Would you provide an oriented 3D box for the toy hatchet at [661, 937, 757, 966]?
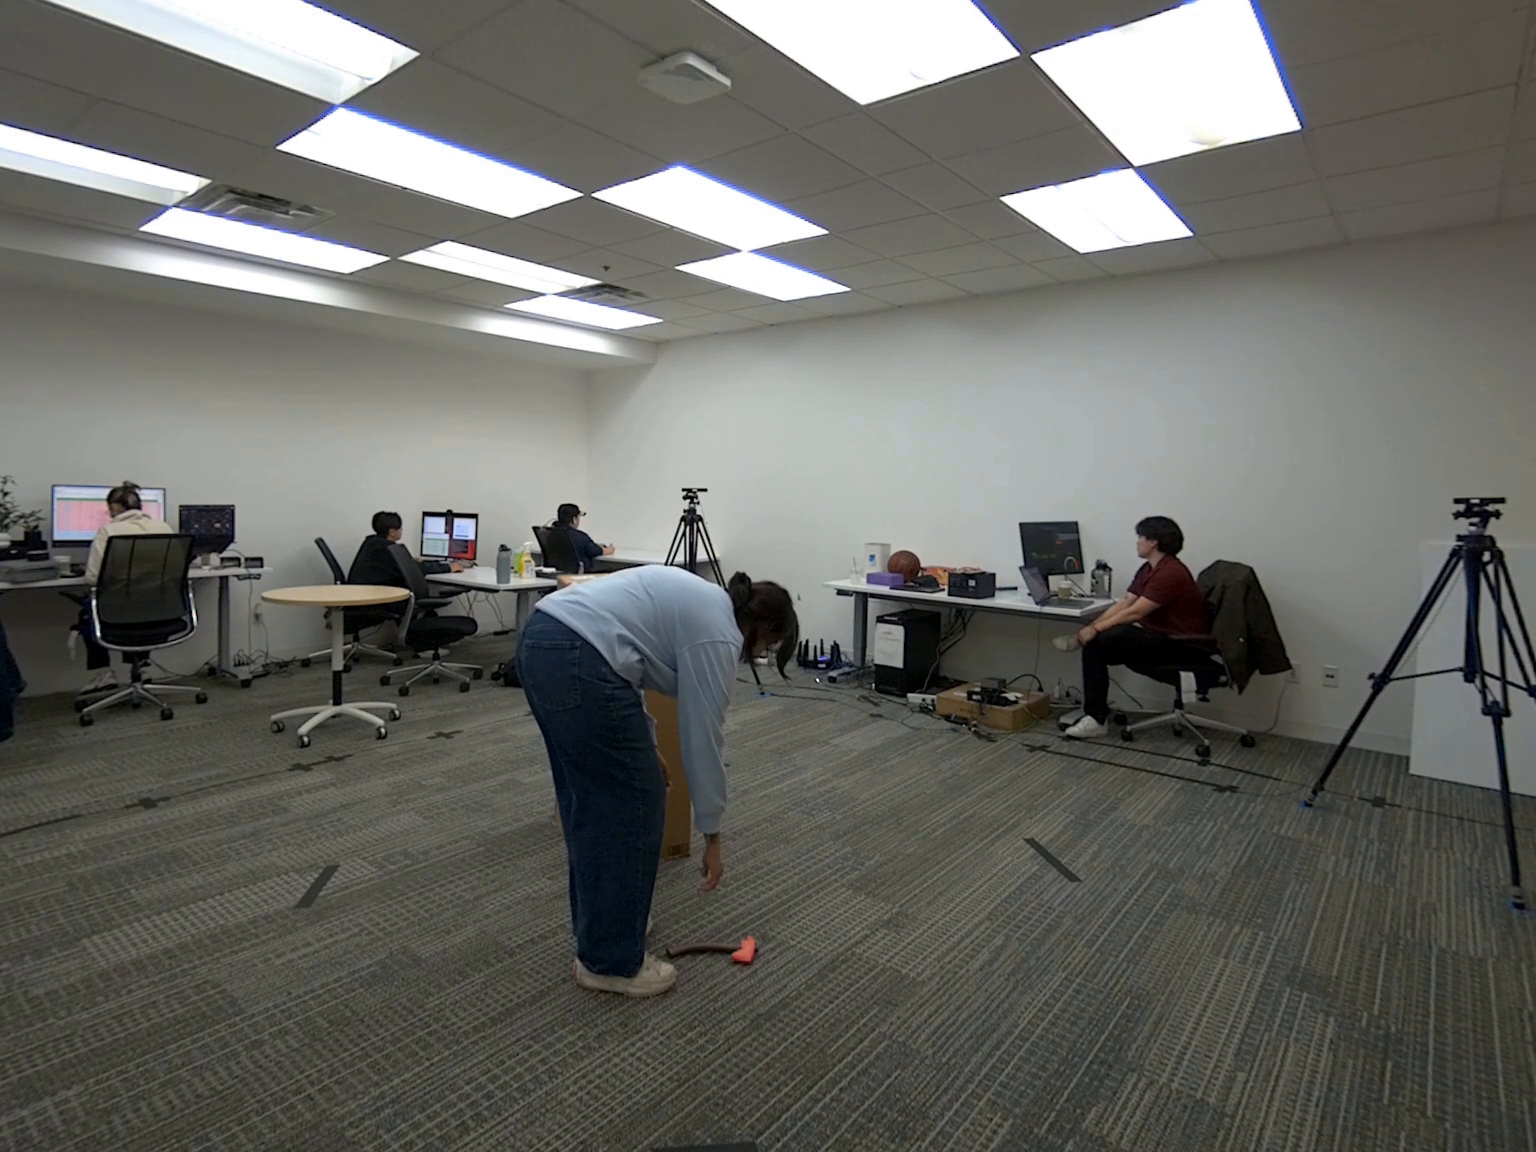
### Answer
[{"bbox_3d":[-0.163,1.121,2.509,0.266,0.029,0.134,-3,8,-17],"label":"toy hatchet"}]
